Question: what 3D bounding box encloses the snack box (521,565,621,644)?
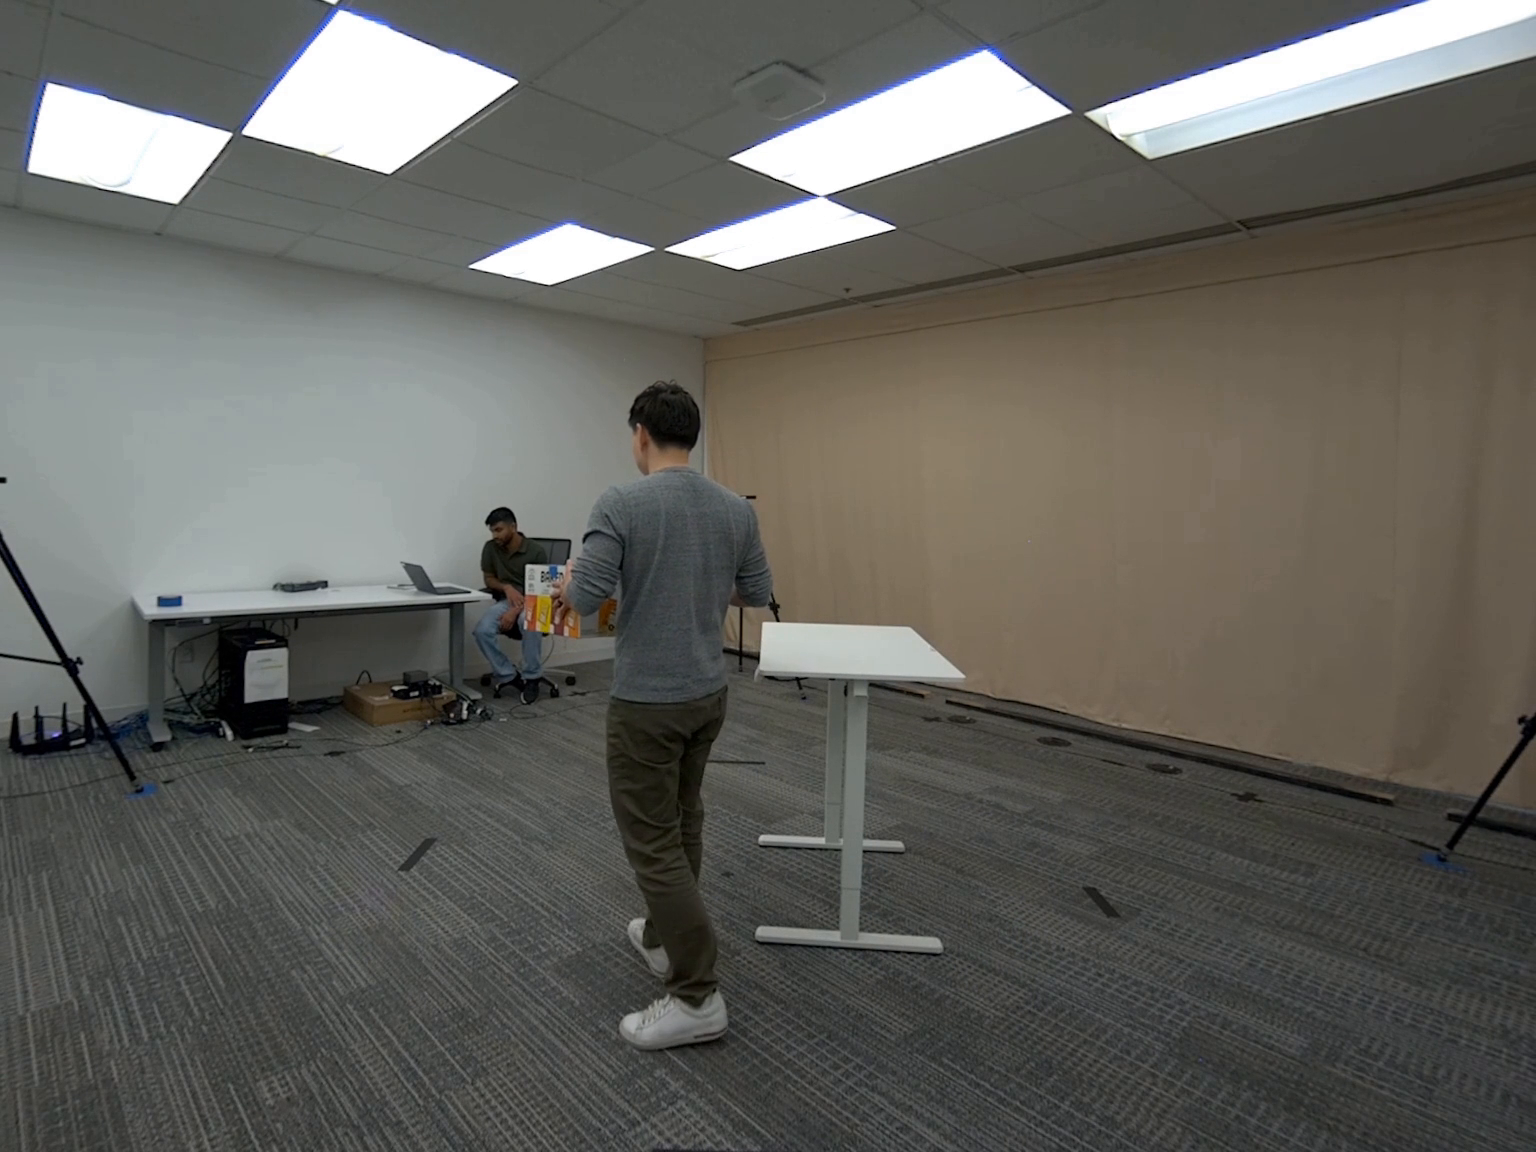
[{"bbox_3d":[-0.495,0.078,2.611,0.395,0.205,0.348,1,1,-41],"label":"snack box"}]
